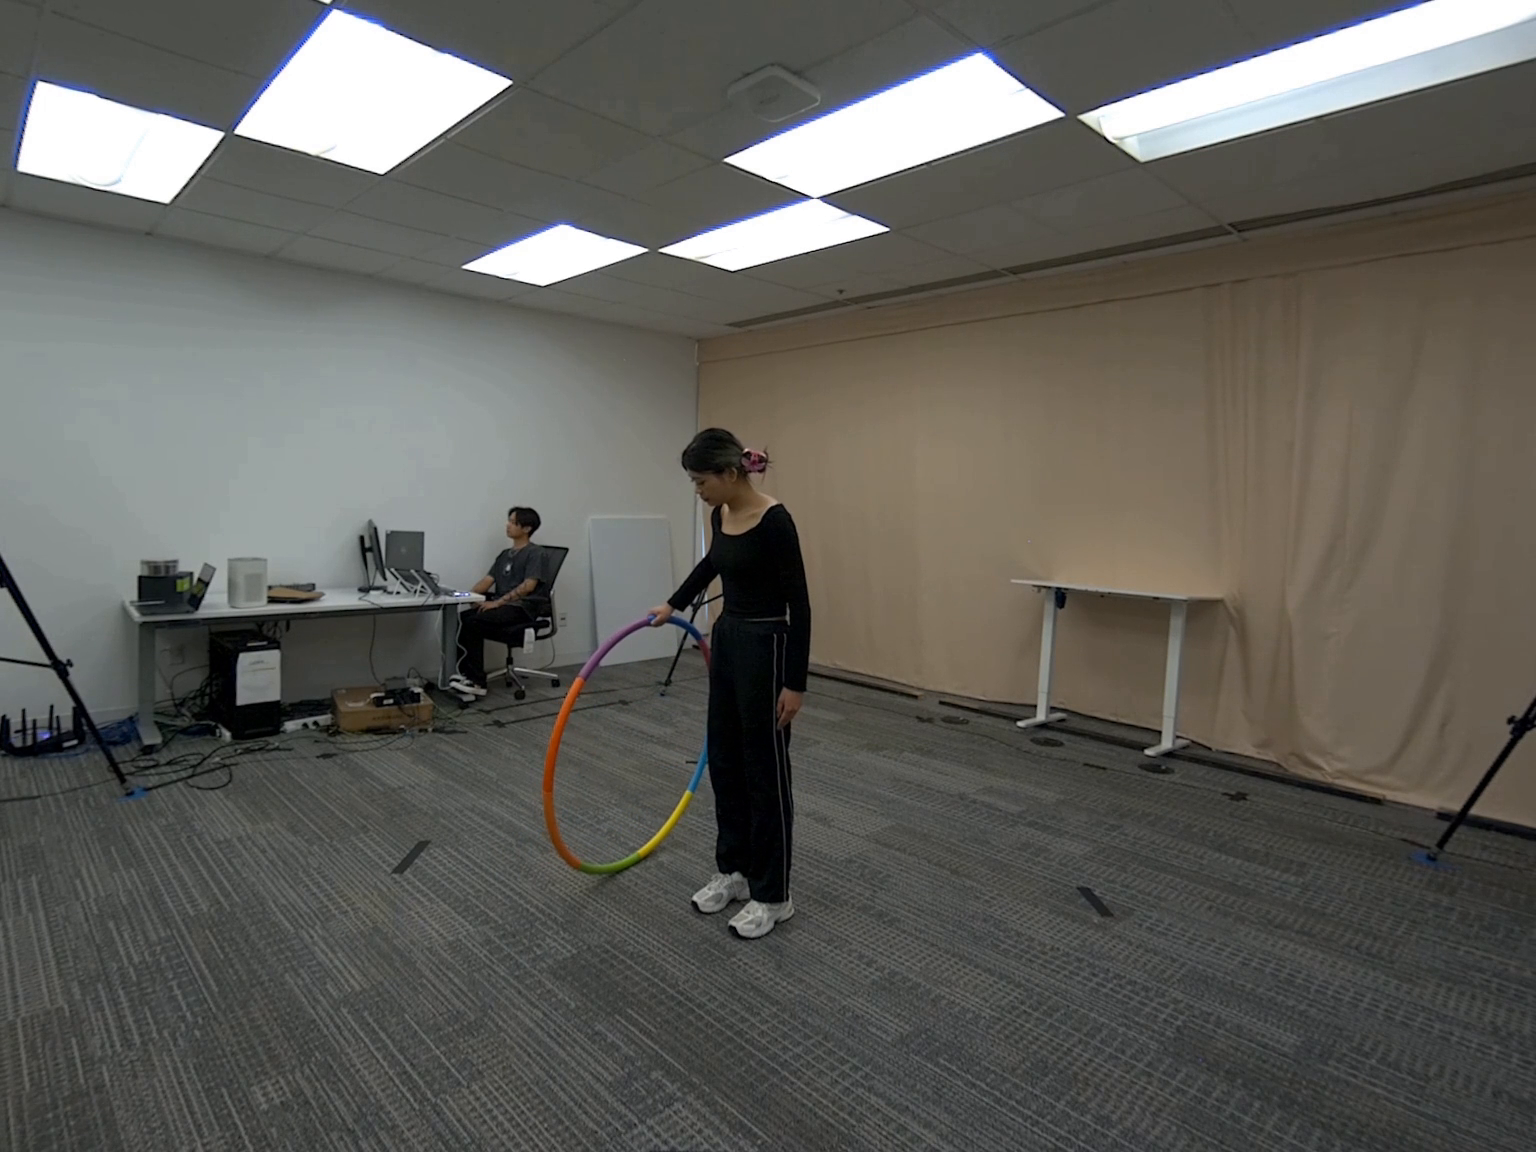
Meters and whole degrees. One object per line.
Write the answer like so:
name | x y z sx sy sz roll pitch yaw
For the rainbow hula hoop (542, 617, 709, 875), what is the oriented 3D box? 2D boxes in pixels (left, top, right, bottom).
rainbow hula hoop | -0.469 0.618 3.127 0.036 0.974 0.960 10 8 29
